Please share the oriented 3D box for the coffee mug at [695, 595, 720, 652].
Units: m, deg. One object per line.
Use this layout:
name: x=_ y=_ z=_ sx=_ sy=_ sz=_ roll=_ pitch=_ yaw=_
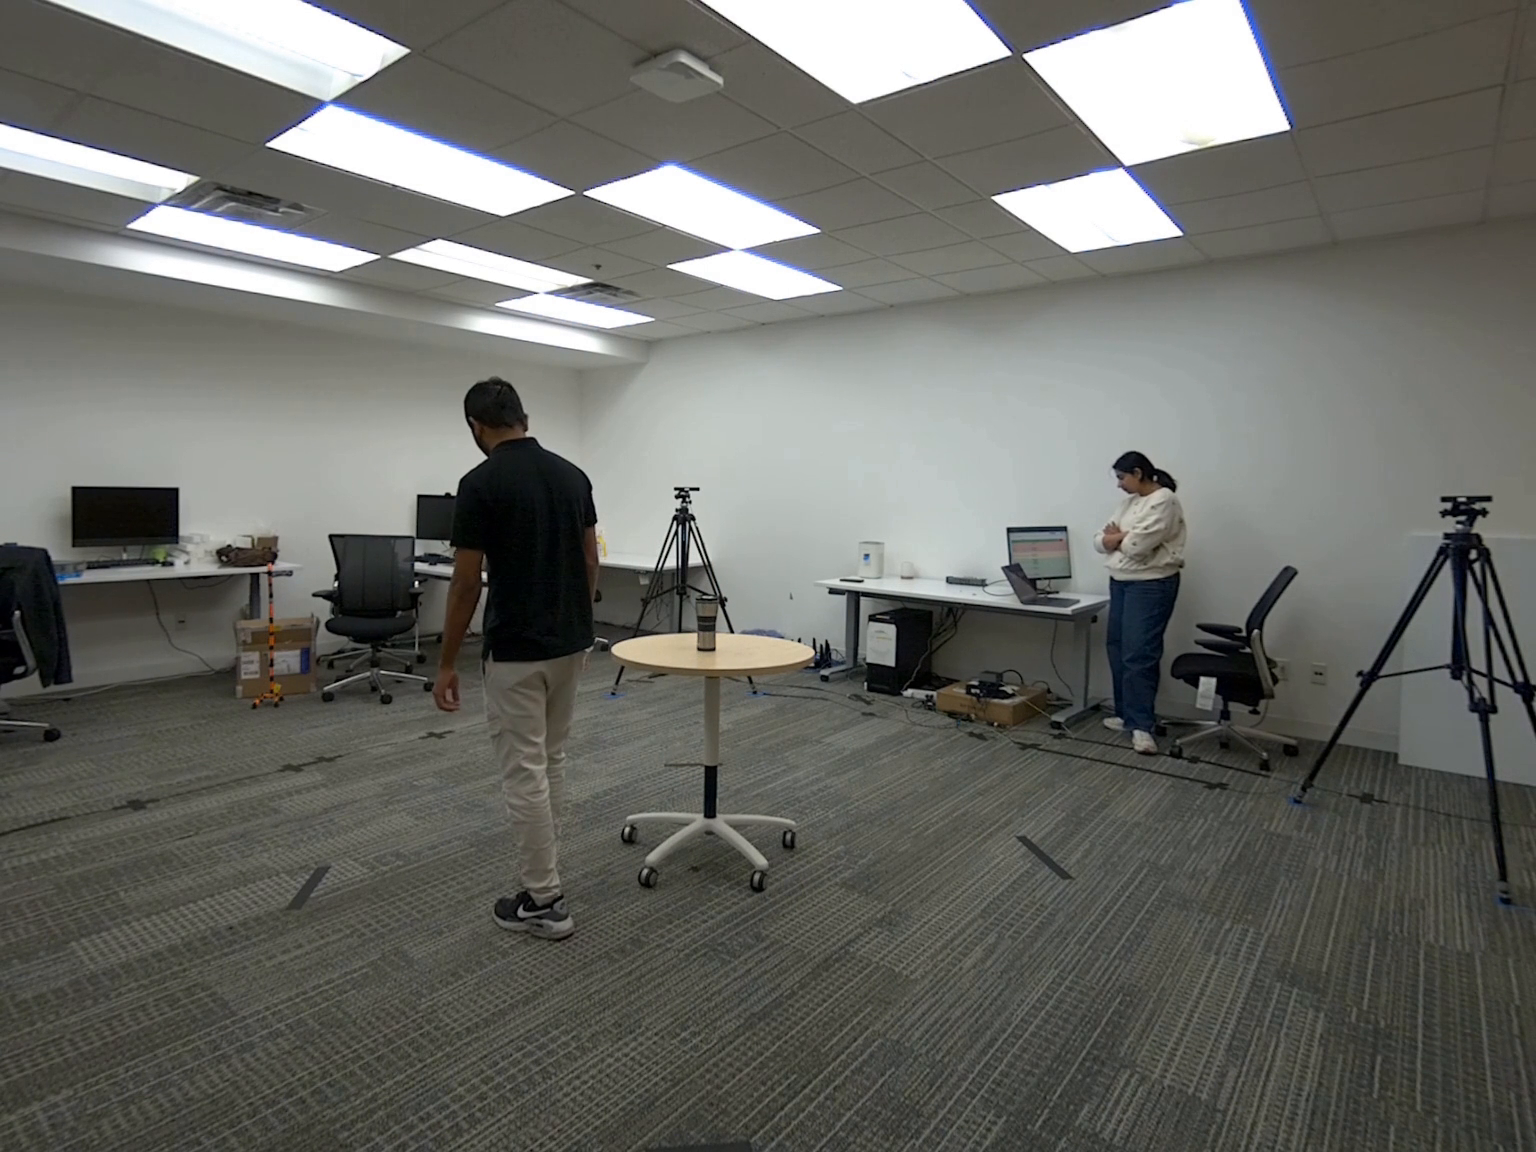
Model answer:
coffee mug: x=-0.232 y=0.174 z=3.205 sx=0.089 sy=0.202 sz=0.120 roll=-1 pitch=5 yaw=15
